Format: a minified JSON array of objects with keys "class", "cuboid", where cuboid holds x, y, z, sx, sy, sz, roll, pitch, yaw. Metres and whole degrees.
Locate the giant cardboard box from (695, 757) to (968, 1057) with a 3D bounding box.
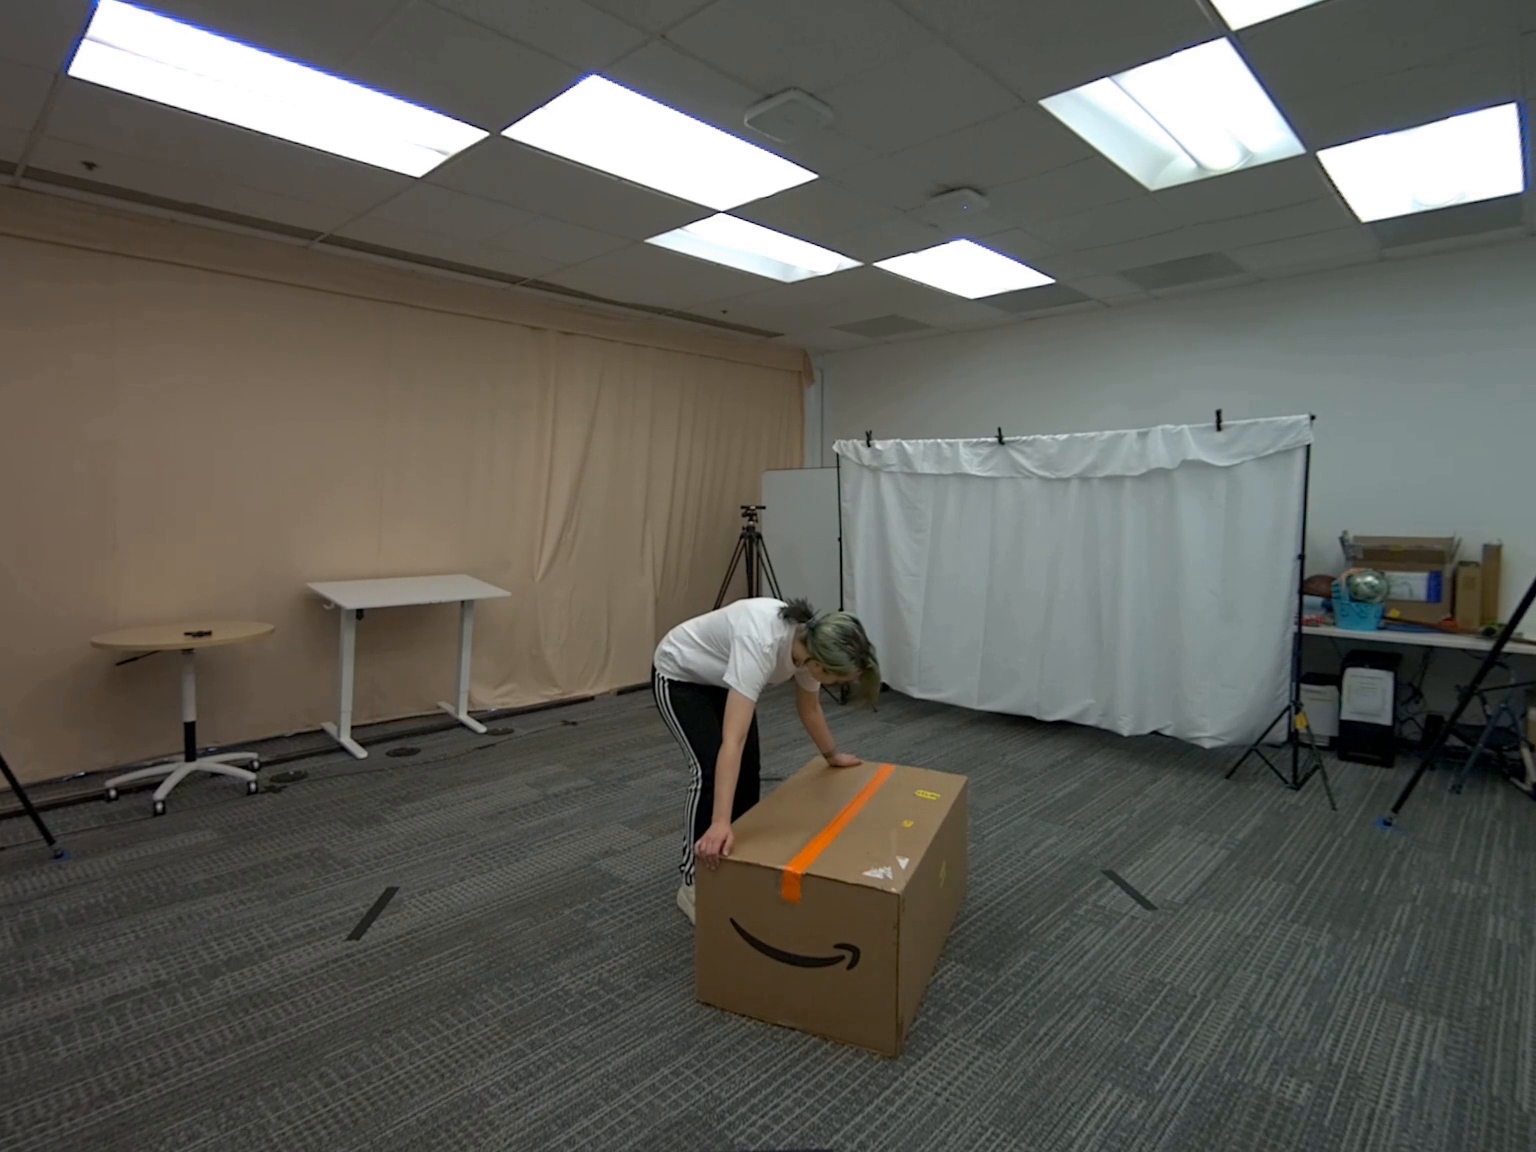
[{"class":"giant cardboard box","cuboid":[0.262,0.952,2.682,0.592,0.425,1.003,3,5,23]}]
